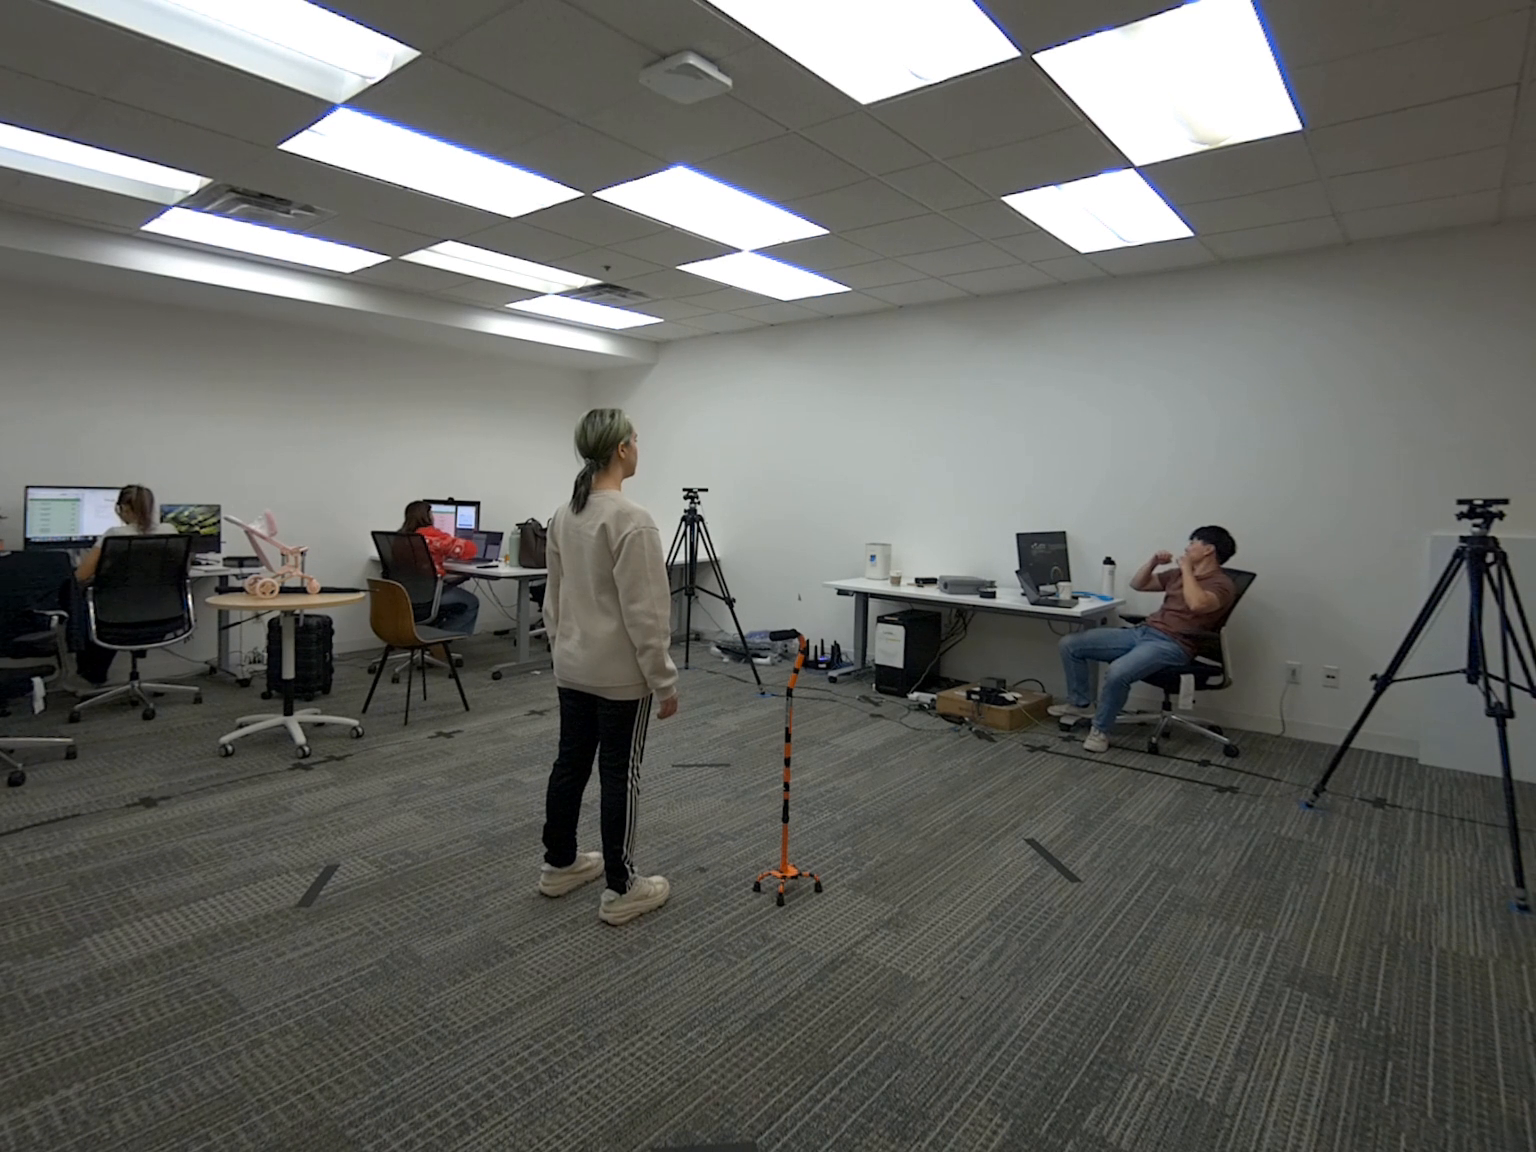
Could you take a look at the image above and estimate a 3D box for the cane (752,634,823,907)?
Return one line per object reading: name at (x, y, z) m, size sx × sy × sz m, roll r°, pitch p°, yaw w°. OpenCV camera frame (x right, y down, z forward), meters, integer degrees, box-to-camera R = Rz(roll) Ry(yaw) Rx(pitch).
cane at (0.072, 0.638, 2.935) m, size 0.200 × 0.905 × 0.157 m, roll -1°, pitch 3°, yaw -39°
